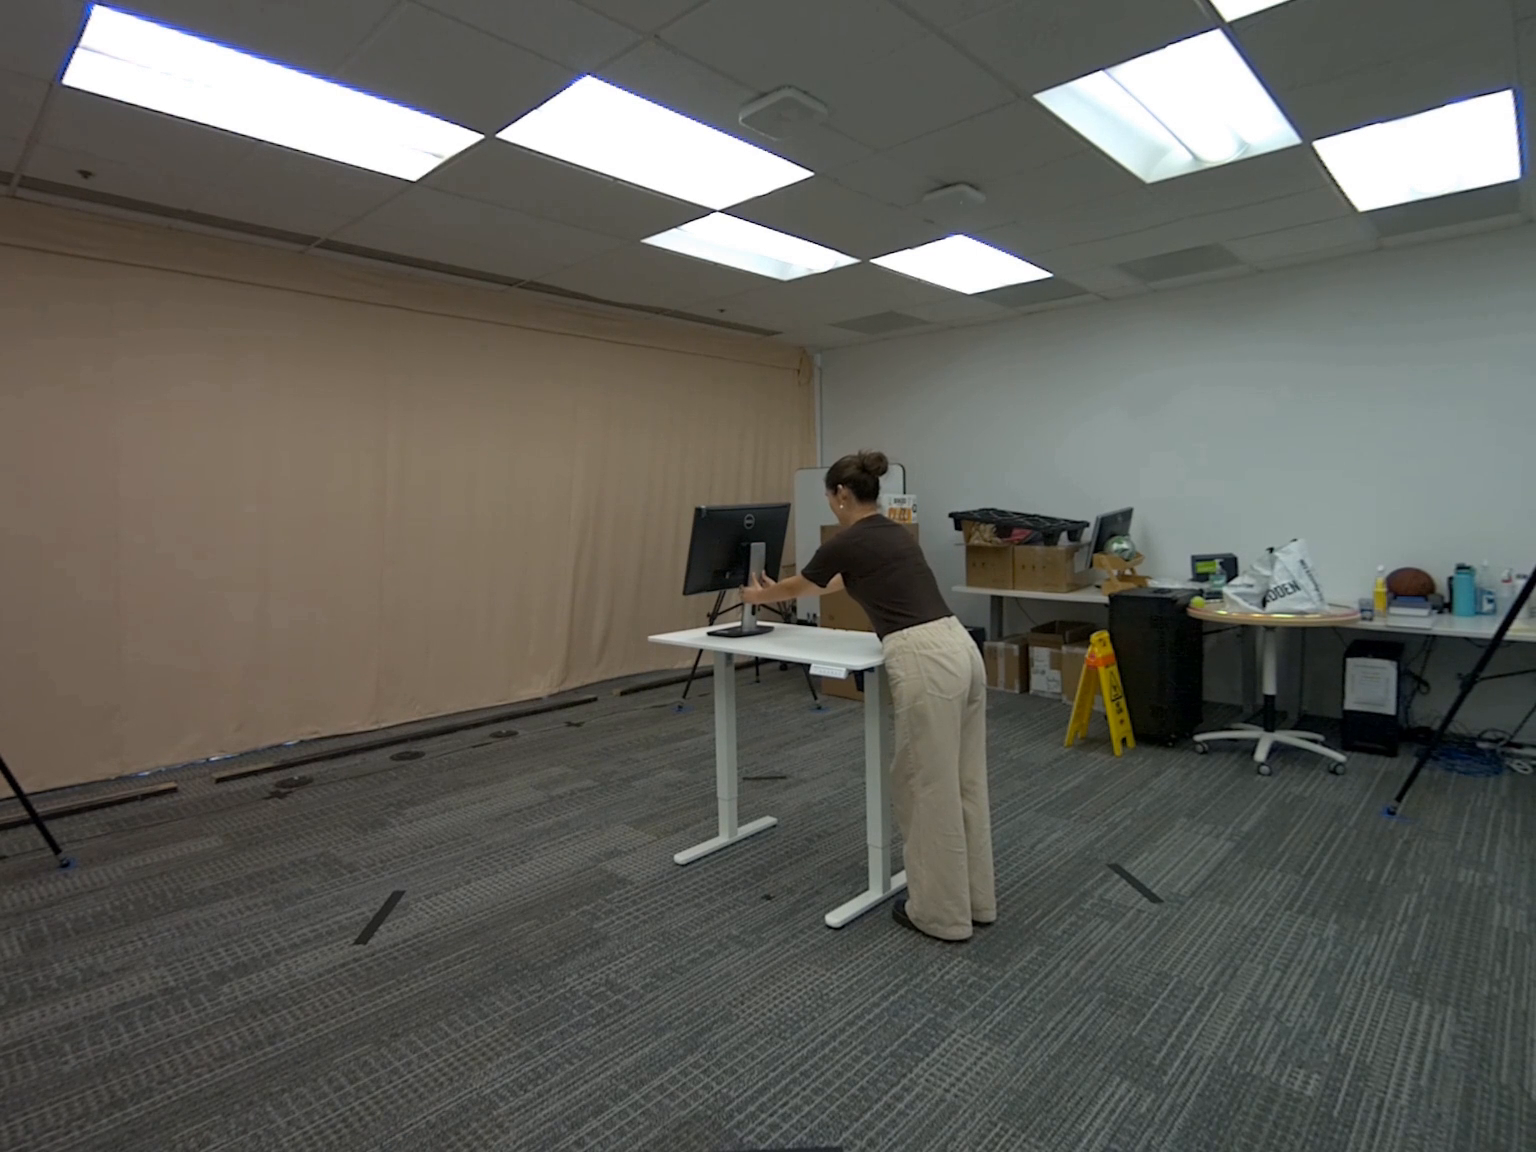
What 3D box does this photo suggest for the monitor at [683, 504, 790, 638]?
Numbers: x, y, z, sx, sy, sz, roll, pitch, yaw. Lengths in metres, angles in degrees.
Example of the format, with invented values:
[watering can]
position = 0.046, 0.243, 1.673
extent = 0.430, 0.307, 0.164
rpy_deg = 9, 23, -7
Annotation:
[monitor]
position = -0.095, -0.023, 3.360
extent = 0.193, 0.521, 0.523
rpy_deg = 4, 7, 41
